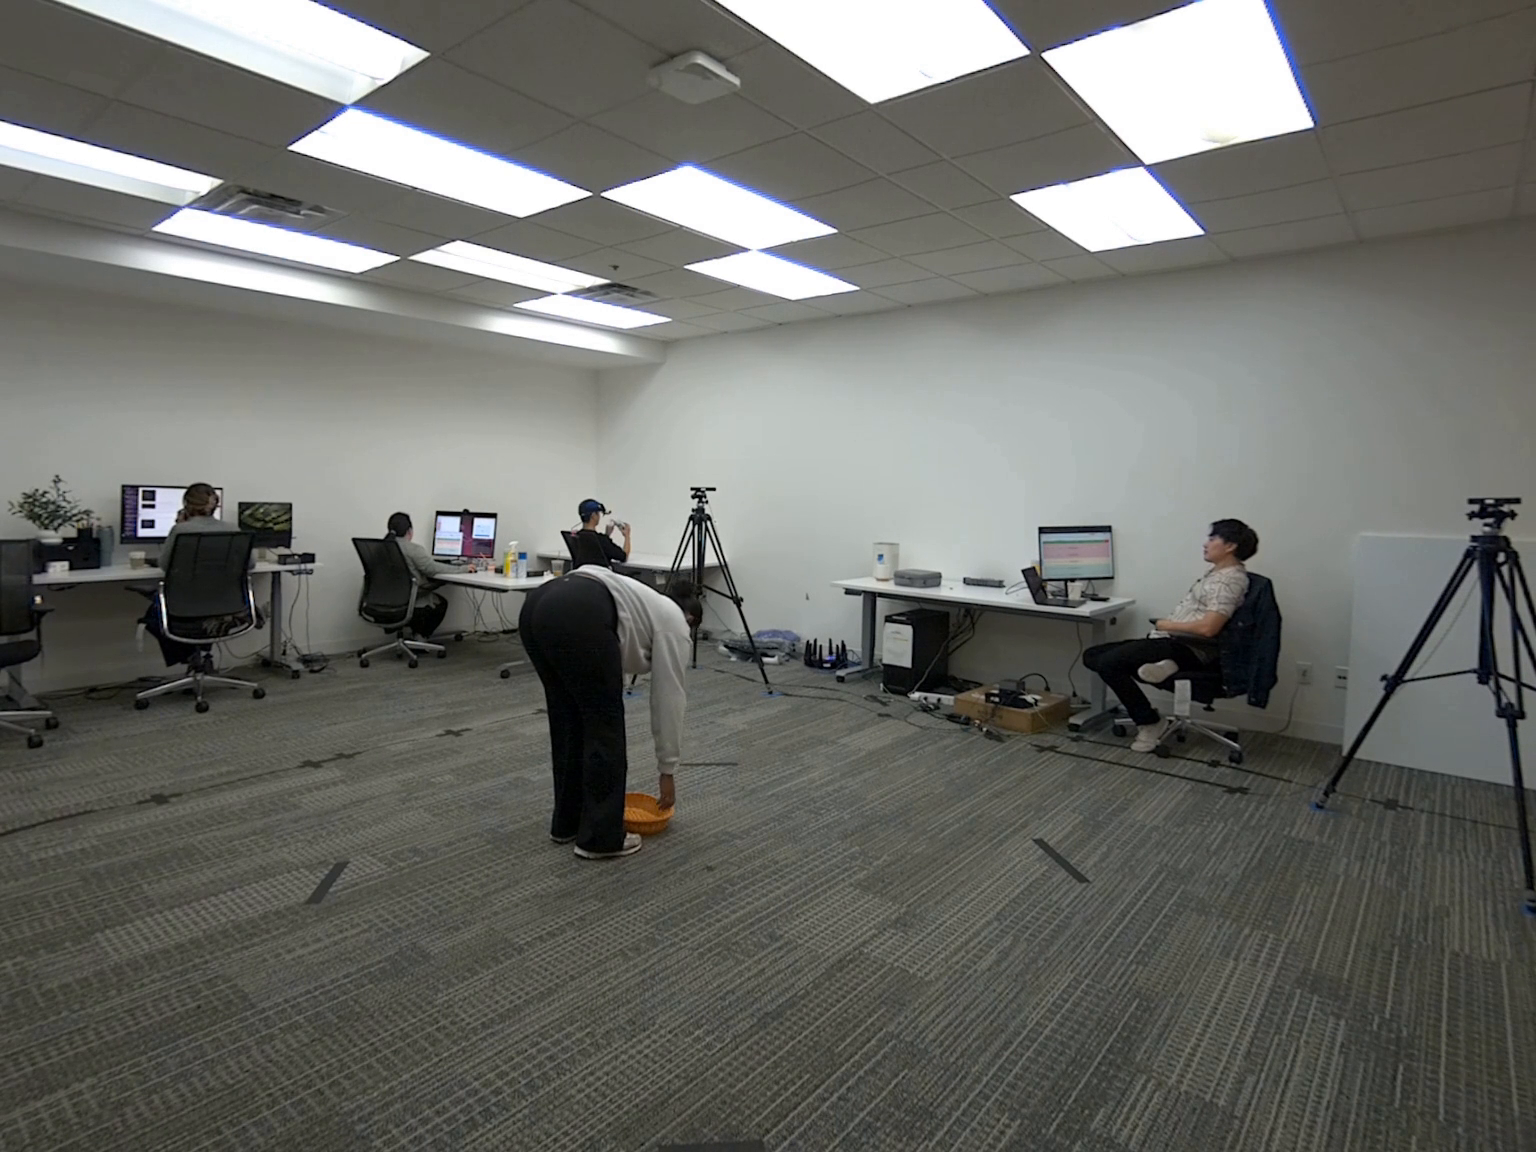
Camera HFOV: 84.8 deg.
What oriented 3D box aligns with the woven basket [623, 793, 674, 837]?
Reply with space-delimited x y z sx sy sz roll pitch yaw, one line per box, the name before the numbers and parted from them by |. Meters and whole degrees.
woven basket | -0.552 0.977 3.521 0.245 0.073 0.362 -4 9 -39
